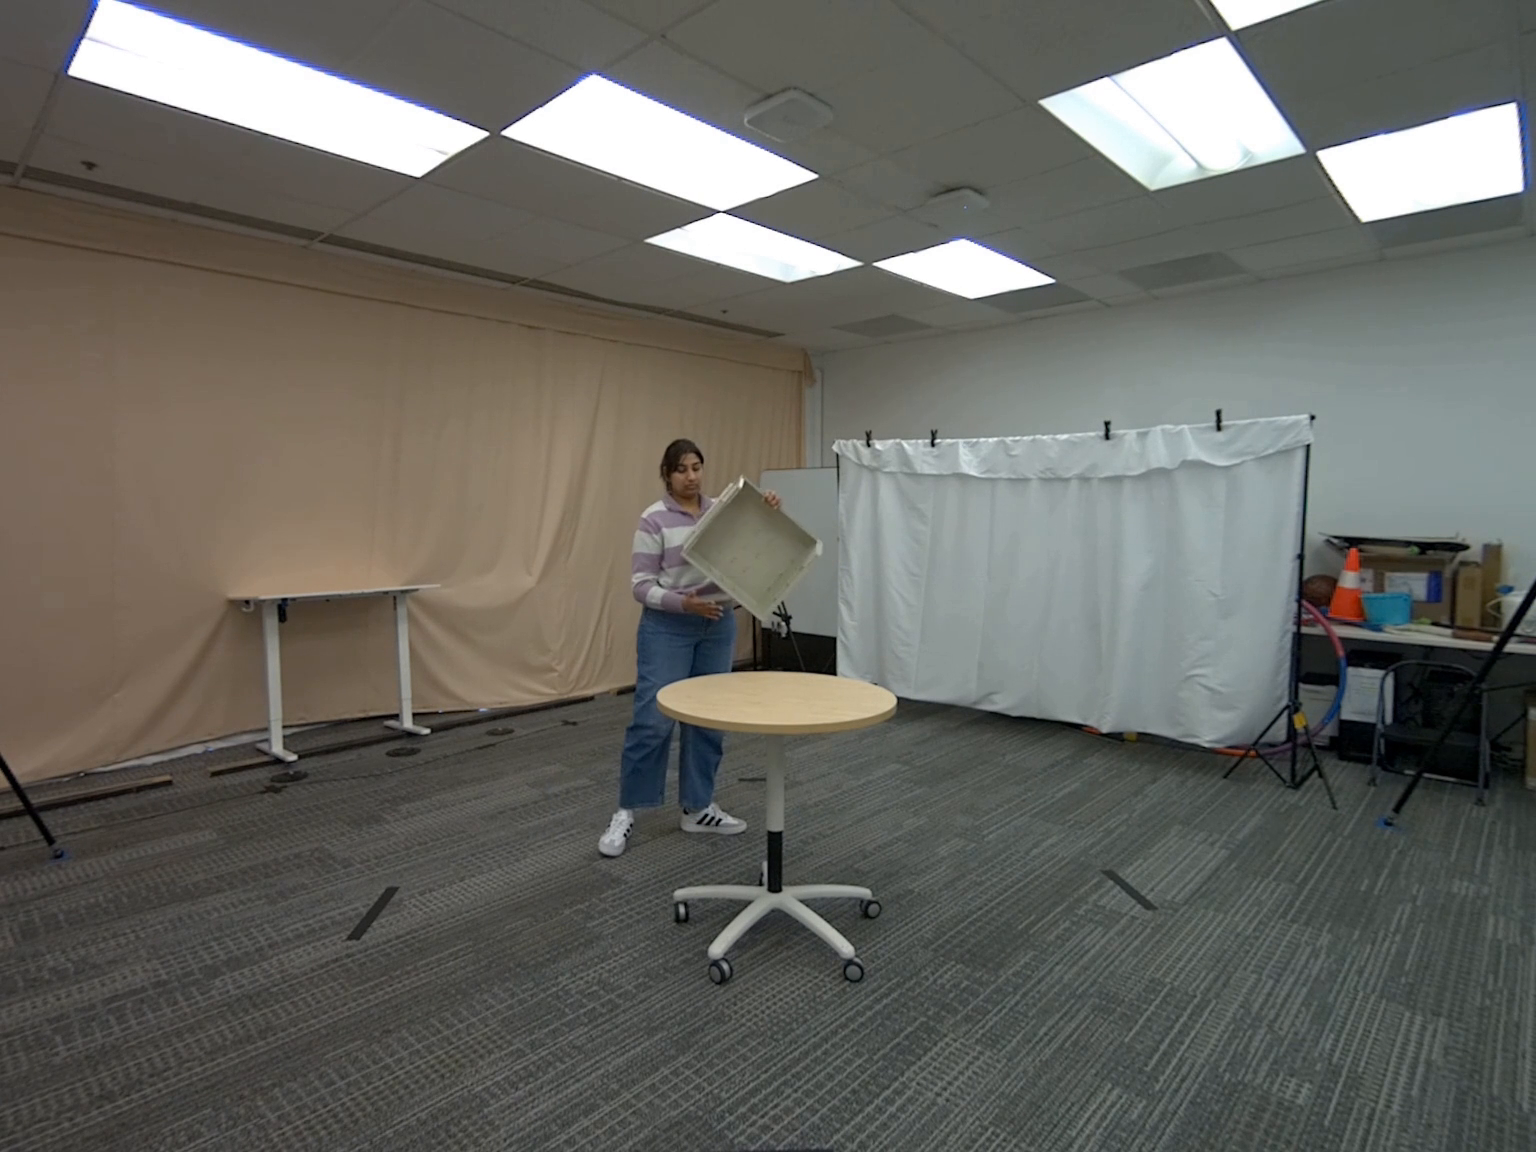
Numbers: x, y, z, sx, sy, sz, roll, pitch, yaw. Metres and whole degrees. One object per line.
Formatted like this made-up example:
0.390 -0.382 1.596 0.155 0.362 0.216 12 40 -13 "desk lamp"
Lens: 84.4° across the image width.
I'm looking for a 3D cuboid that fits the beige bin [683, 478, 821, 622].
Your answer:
-0.063 -0.114 3.256 0.416 0.378 0.191 40 8 -12 "beige bin"
